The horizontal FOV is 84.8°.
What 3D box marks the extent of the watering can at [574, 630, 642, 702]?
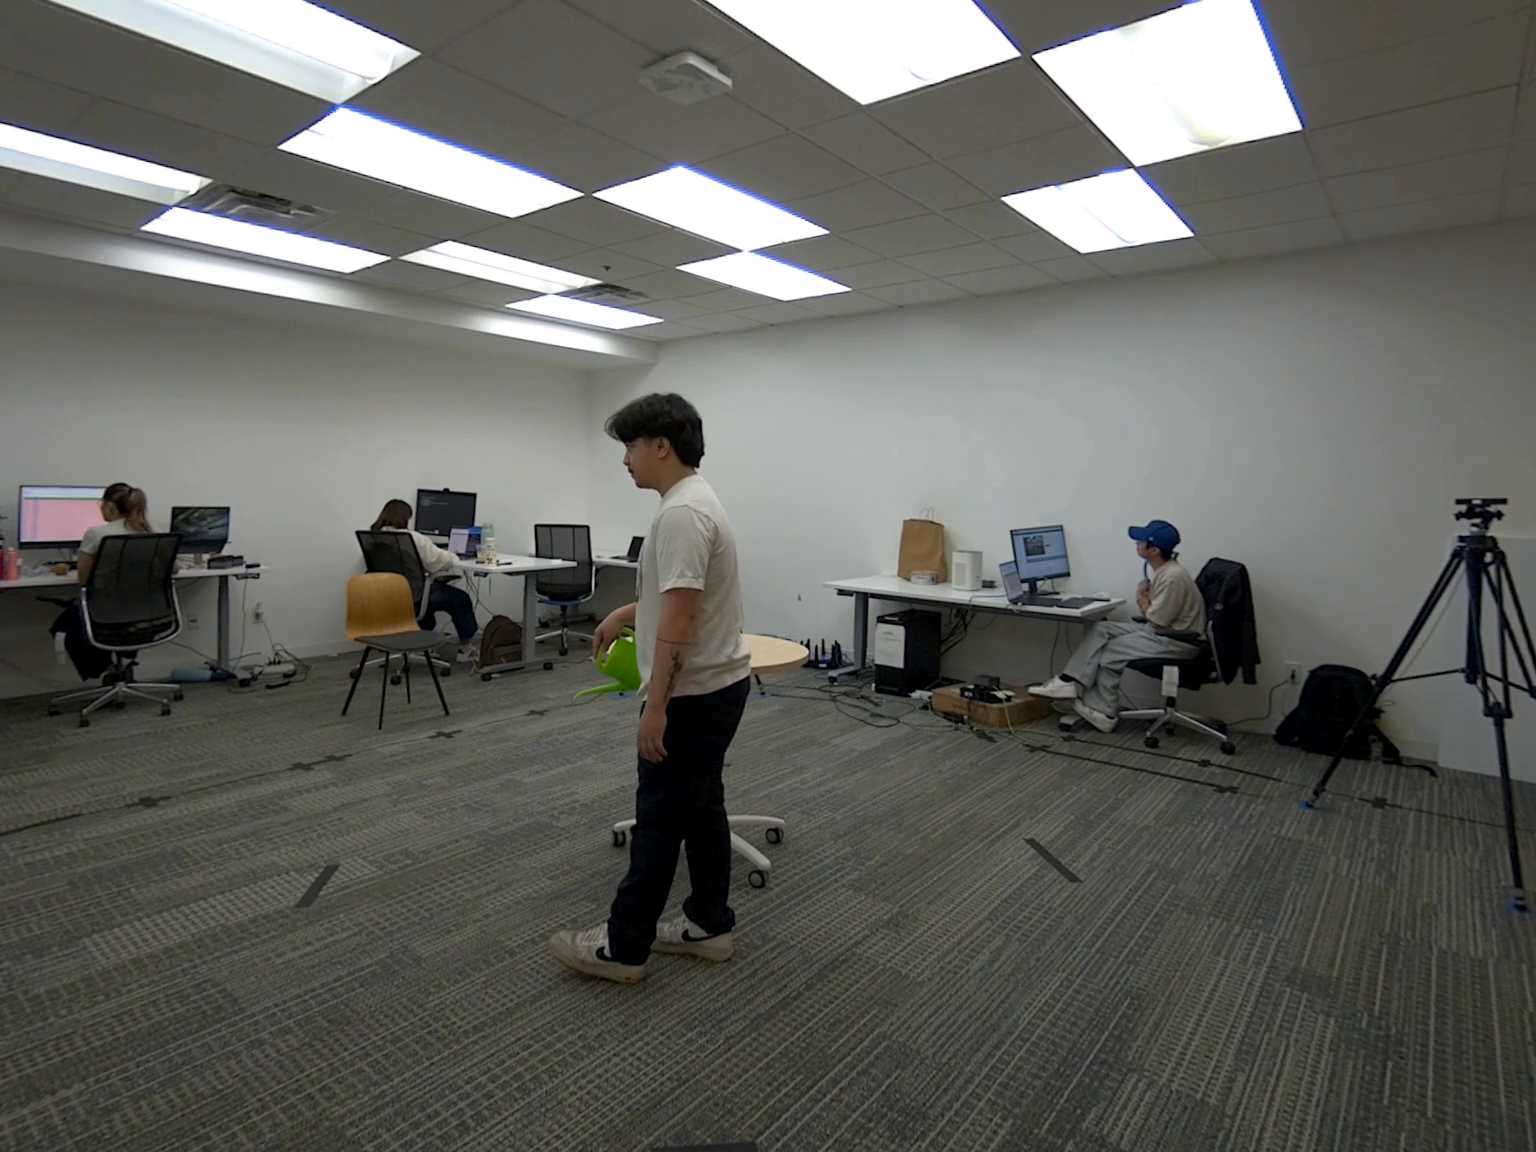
[{"bbox_3d":[-0.489,0.306,2.712,0.177,0.277,0.098,29,6,0],"label":"watering can"}]
